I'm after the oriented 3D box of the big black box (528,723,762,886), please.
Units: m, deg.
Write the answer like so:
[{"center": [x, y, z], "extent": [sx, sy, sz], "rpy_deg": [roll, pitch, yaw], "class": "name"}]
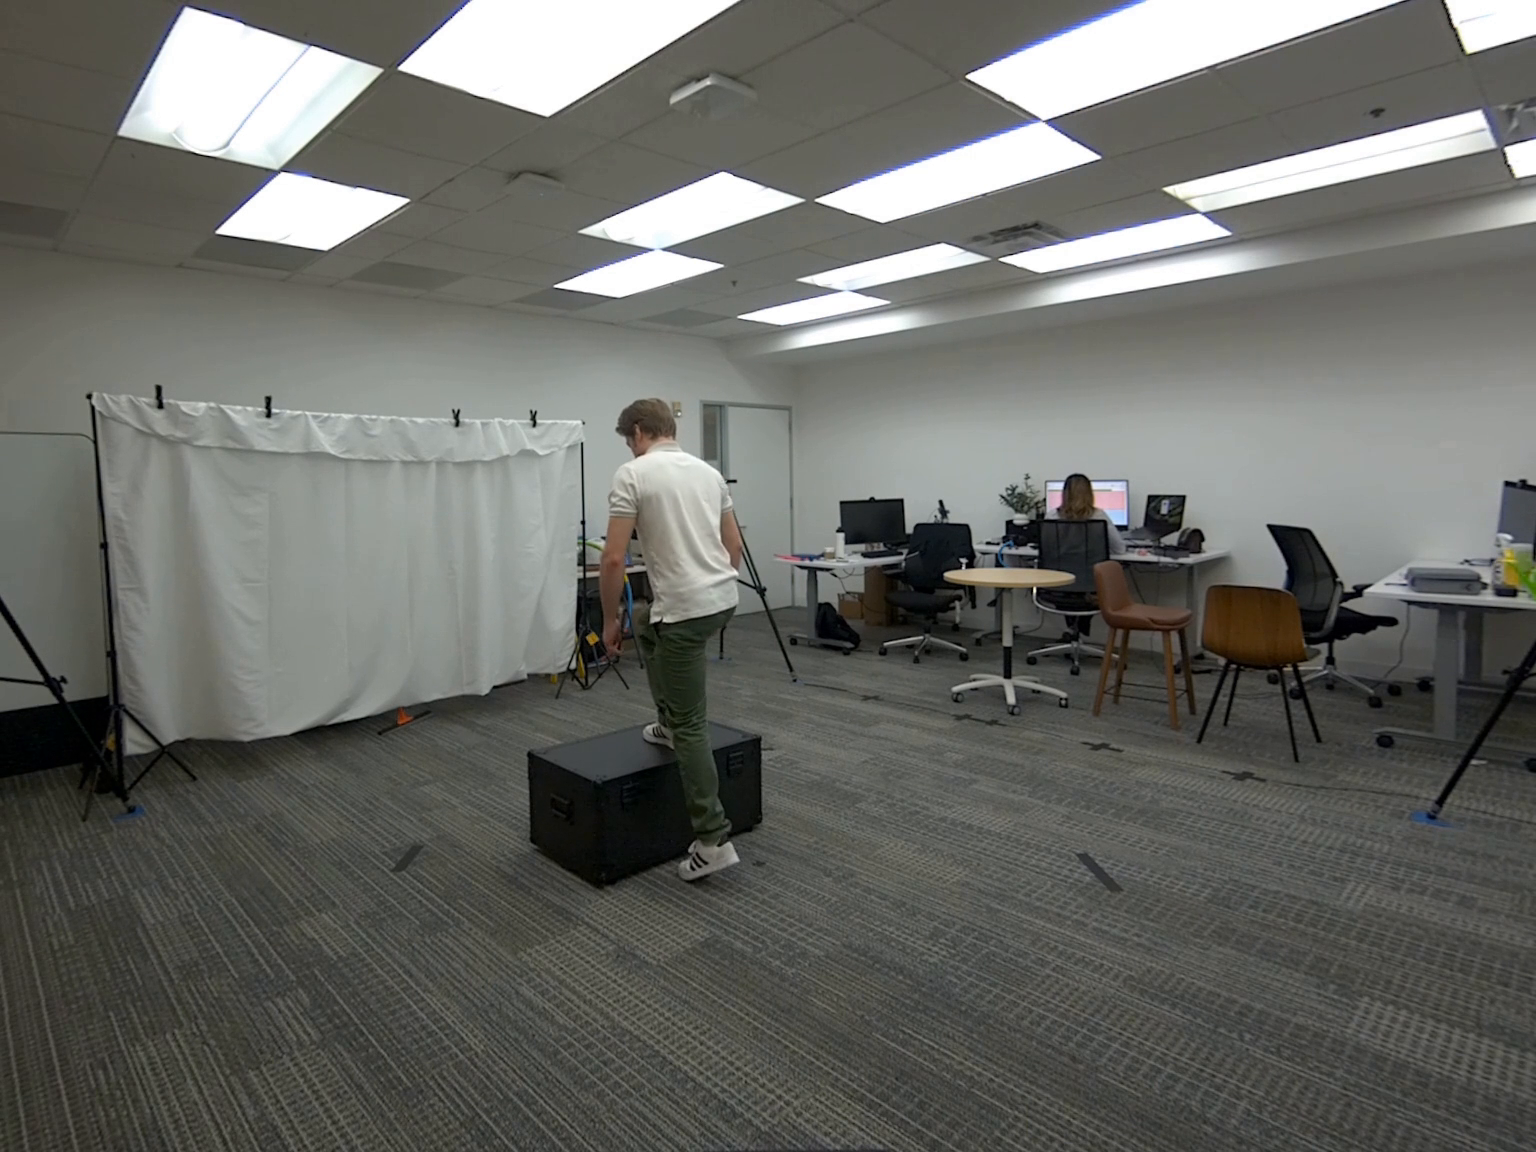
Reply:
[{"center": [-0.444, 0.837, 3.363], "extent": [0.839, 0.394, 0.537], "rpy_deg": [-7, 8, -43], "class": "big black box"}]
